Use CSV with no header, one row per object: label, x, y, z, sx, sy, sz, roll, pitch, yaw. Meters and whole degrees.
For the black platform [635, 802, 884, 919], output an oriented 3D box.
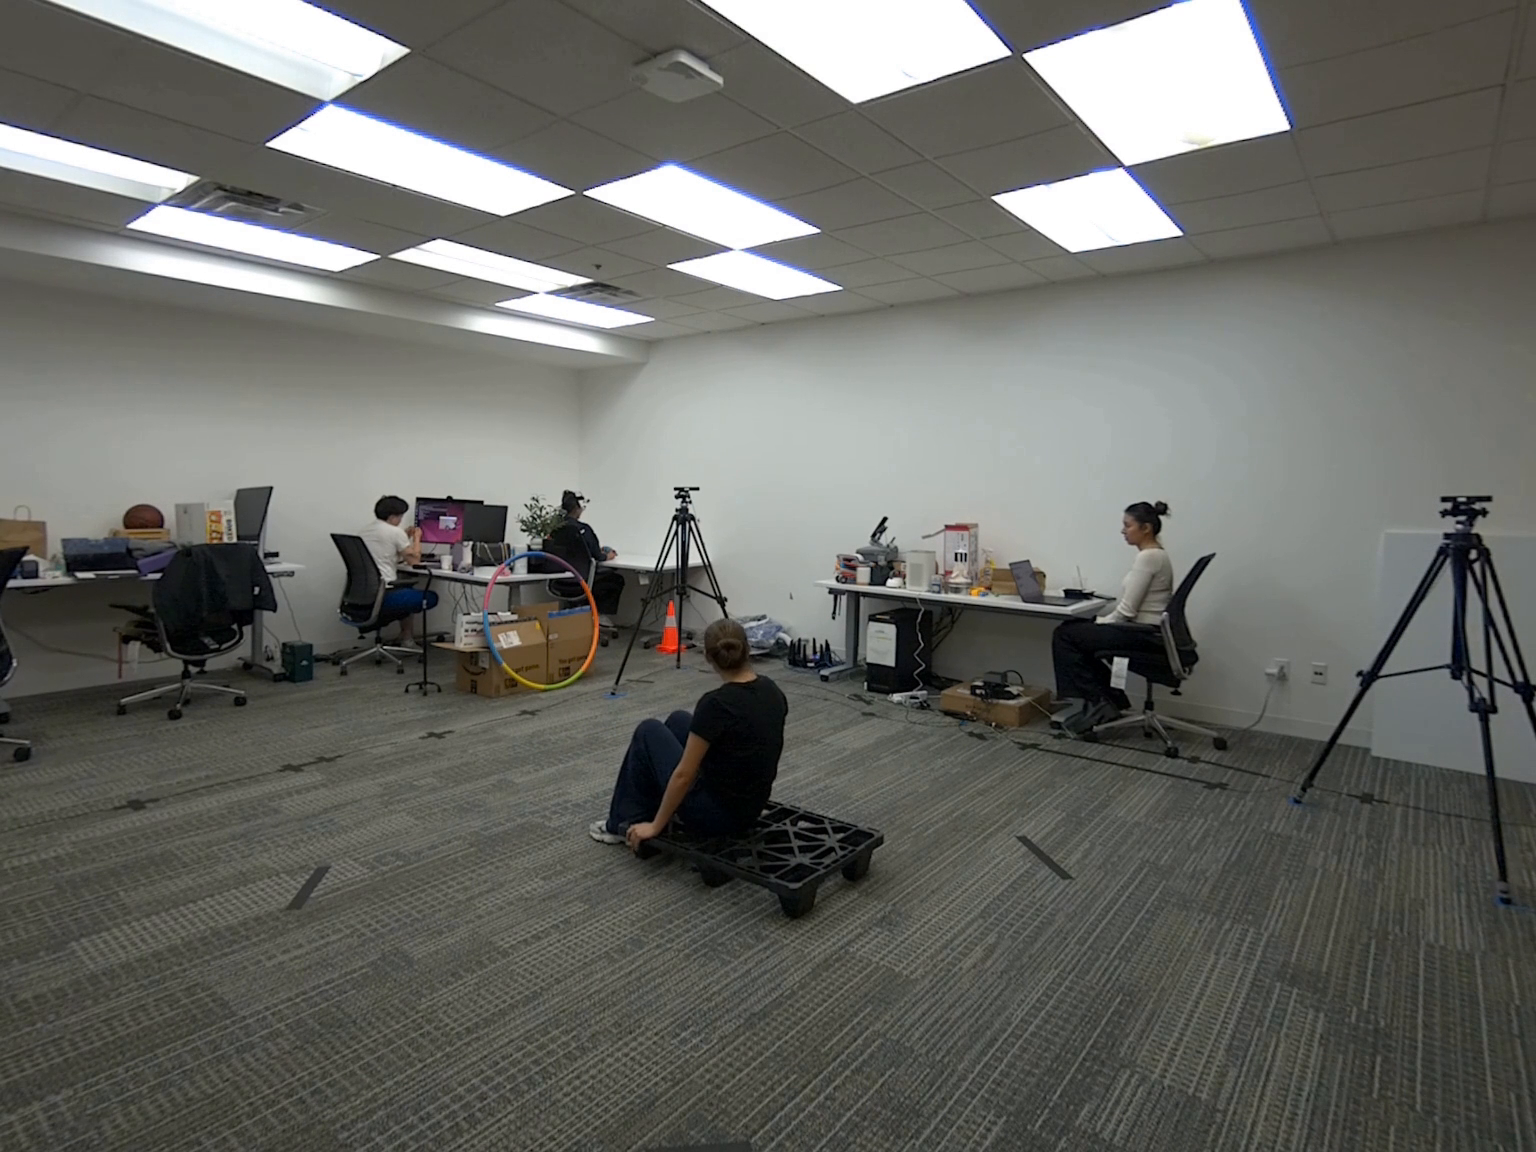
black platform,-0.047,1.000,3.159,0.832,0.143,0.587,5,6,38
